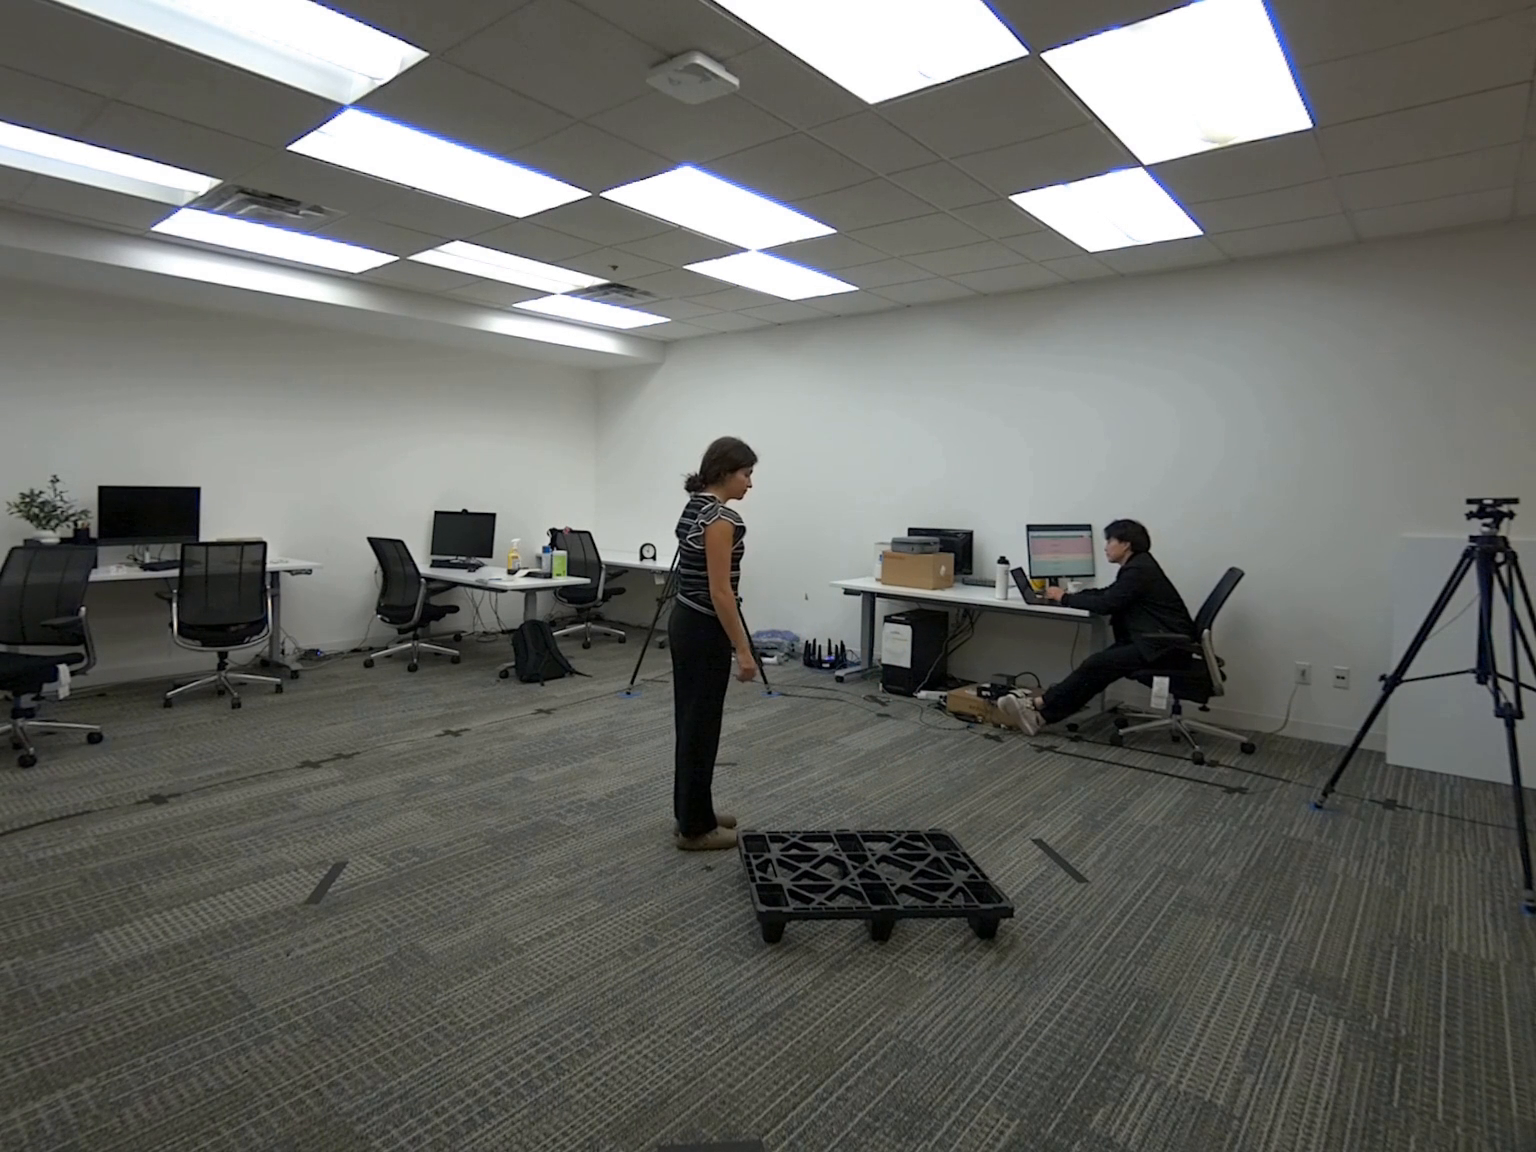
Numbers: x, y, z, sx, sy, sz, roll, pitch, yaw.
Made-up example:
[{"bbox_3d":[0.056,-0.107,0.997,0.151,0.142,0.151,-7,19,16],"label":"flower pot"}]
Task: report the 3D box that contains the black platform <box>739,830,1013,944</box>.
[{"bbox_3d":[0.314,1.036,2.862,0.801,0.142,0.612,0,6,-6],"label":"black platform"}]
